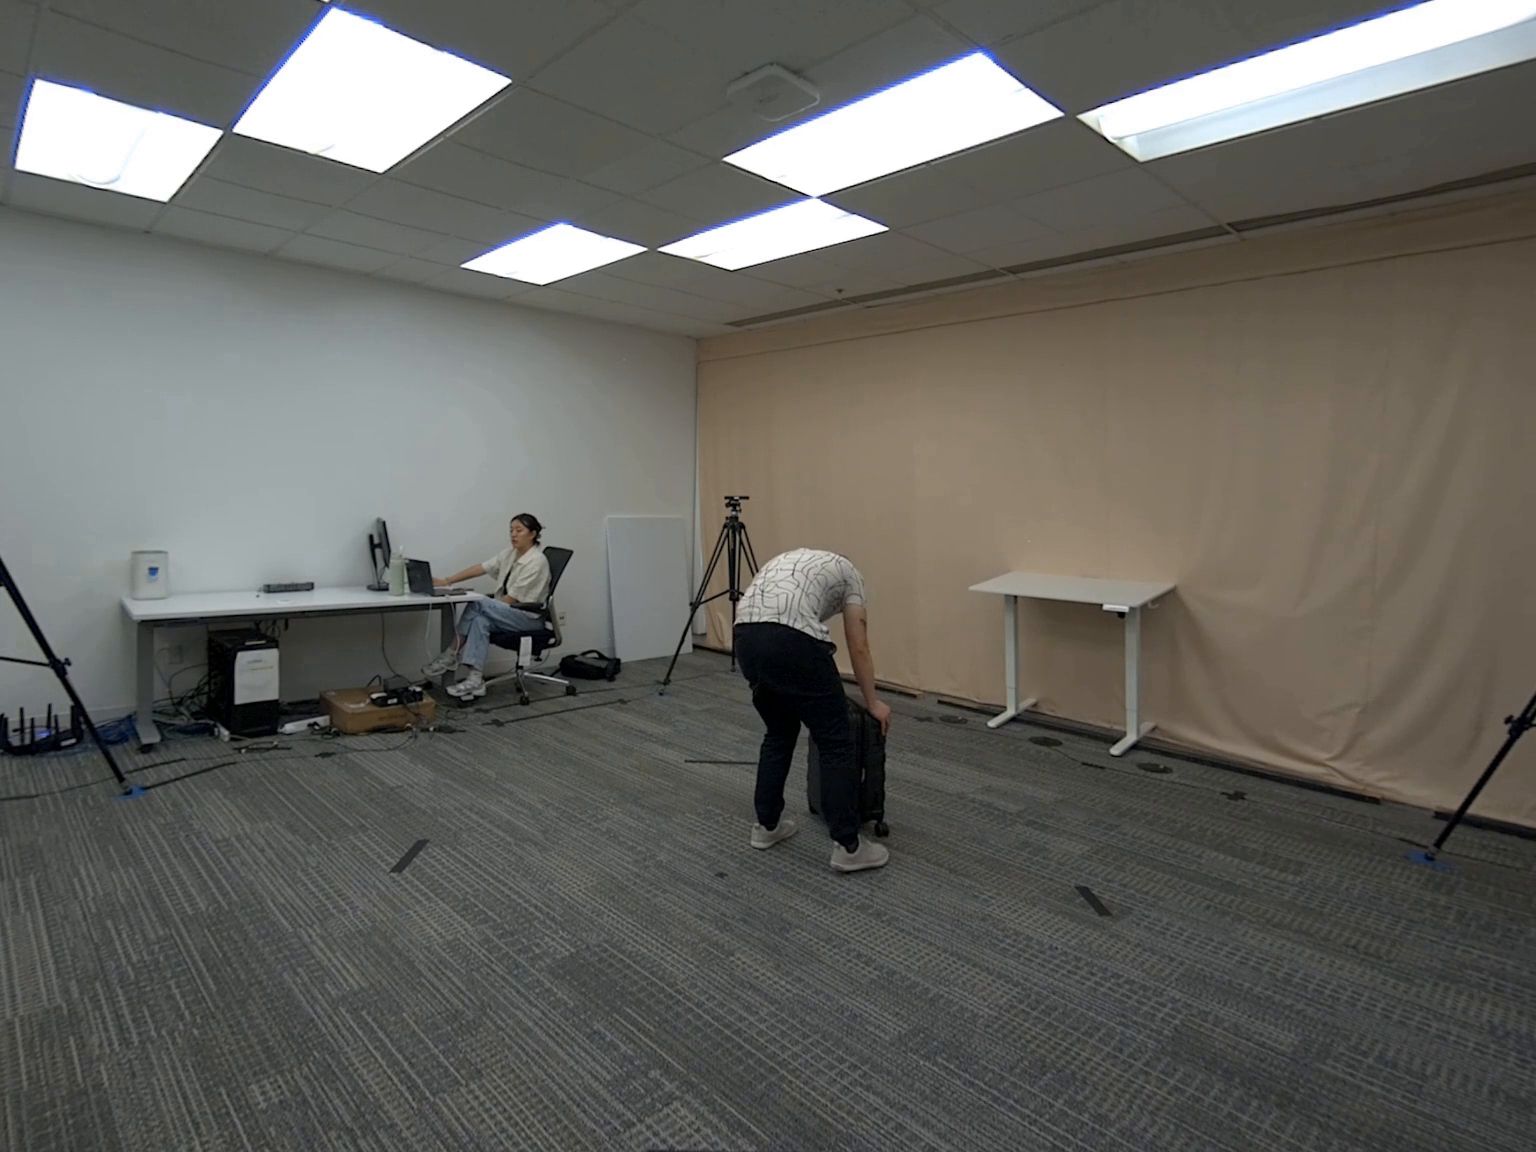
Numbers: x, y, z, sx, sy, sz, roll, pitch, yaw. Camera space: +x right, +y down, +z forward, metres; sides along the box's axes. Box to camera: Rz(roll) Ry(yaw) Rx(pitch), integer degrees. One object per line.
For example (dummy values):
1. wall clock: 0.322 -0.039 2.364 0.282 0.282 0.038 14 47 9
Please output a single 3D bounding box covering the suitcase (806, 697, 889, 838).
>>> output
1. suitcase: 0.319 0.791 3.636 0.246 0.548 0.380 0 2 -14
